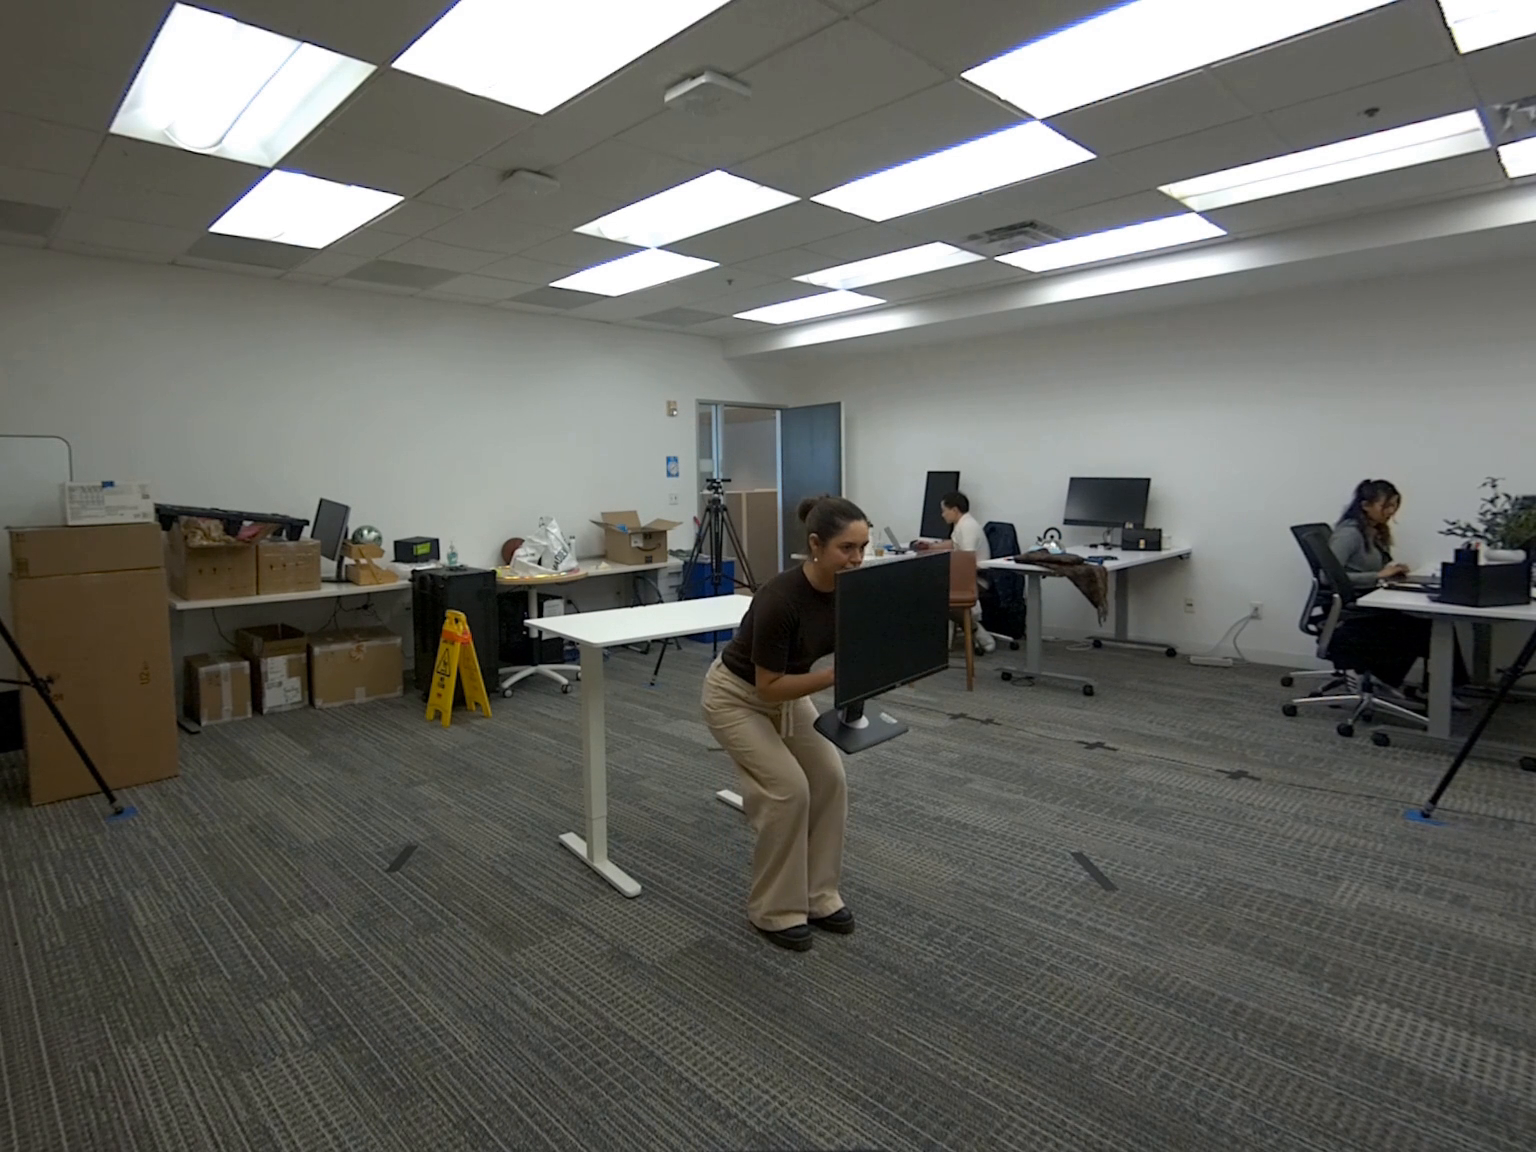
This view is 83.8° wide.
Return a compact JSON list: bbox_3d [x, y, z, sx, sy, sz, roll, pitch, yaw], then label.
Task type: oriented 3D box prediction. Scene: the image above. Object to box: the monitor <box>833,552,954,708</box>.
[{"bbox_3d":[0.308,0.207,2.370,0.194,0.516,0.526,23,21,37],"label":"monitor"}]
